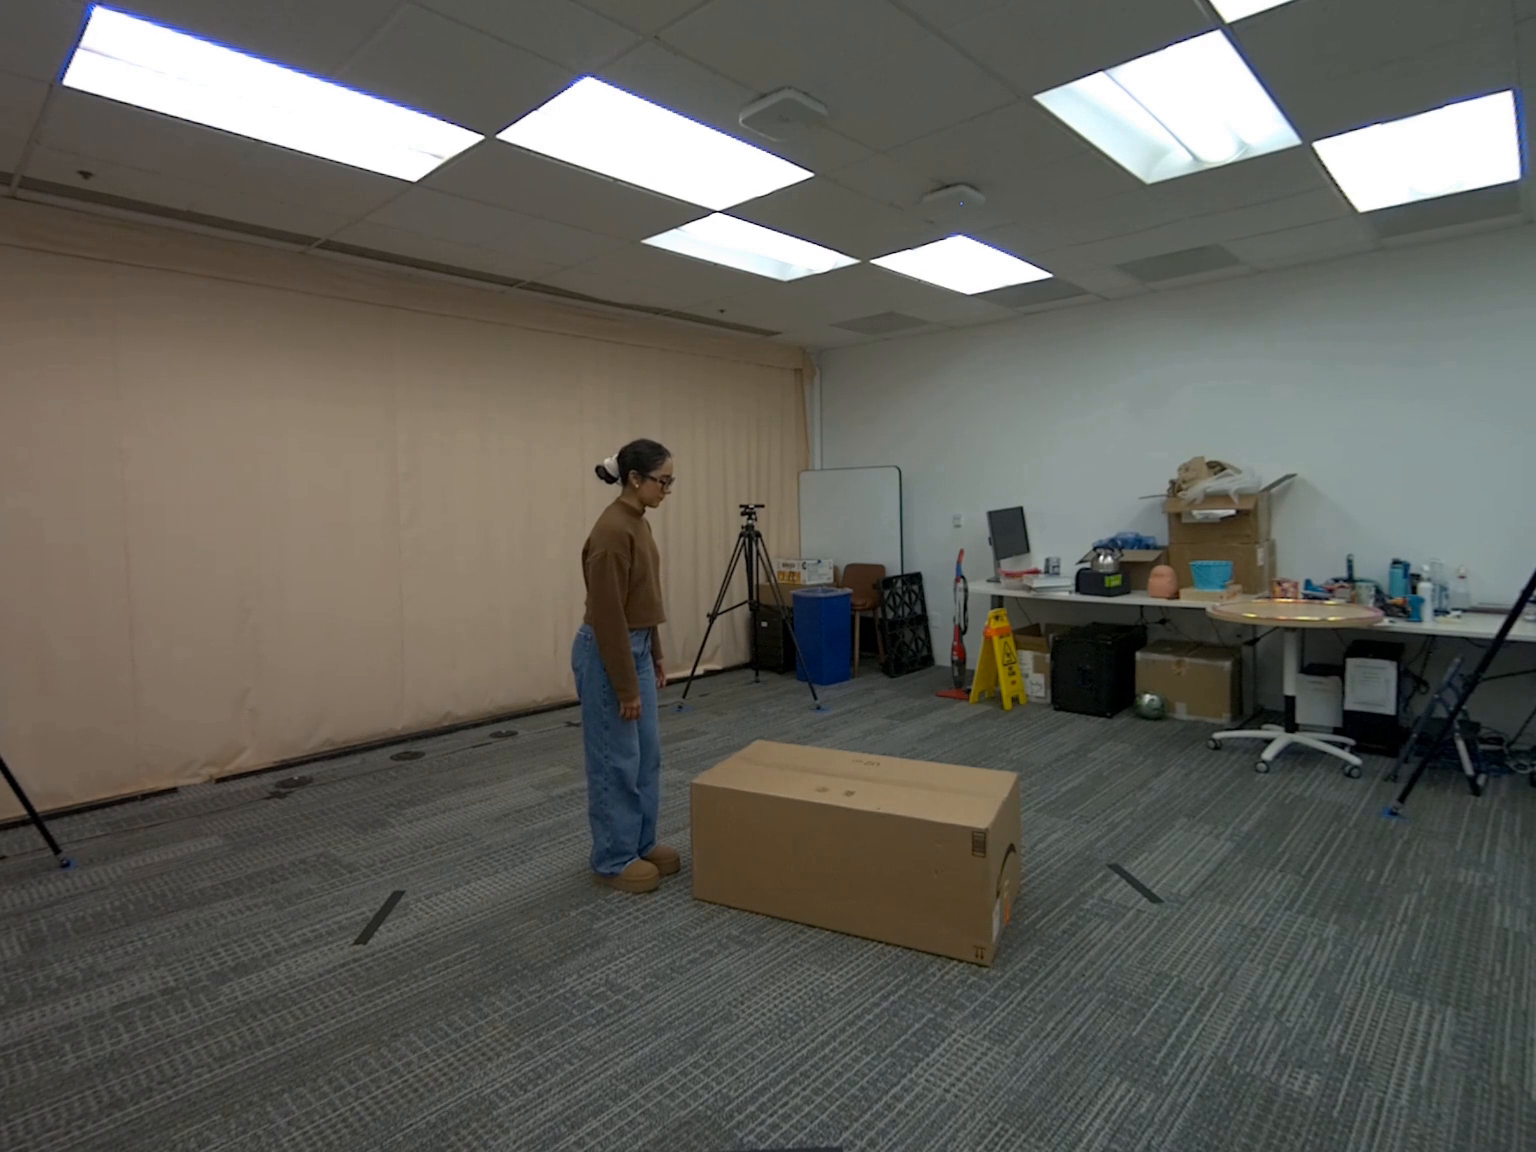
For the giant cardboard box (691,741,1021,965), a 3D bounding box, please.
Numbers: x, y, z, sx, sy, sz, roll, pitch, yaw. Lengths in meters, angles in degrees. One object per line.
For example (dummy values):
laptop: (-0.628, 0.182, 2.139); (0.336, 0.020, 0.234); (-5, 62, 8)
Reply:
giant cardboard box: (0.318, 0.922, 2.982); (1.055, 0.446, 0.569); (2, 4, 27)
